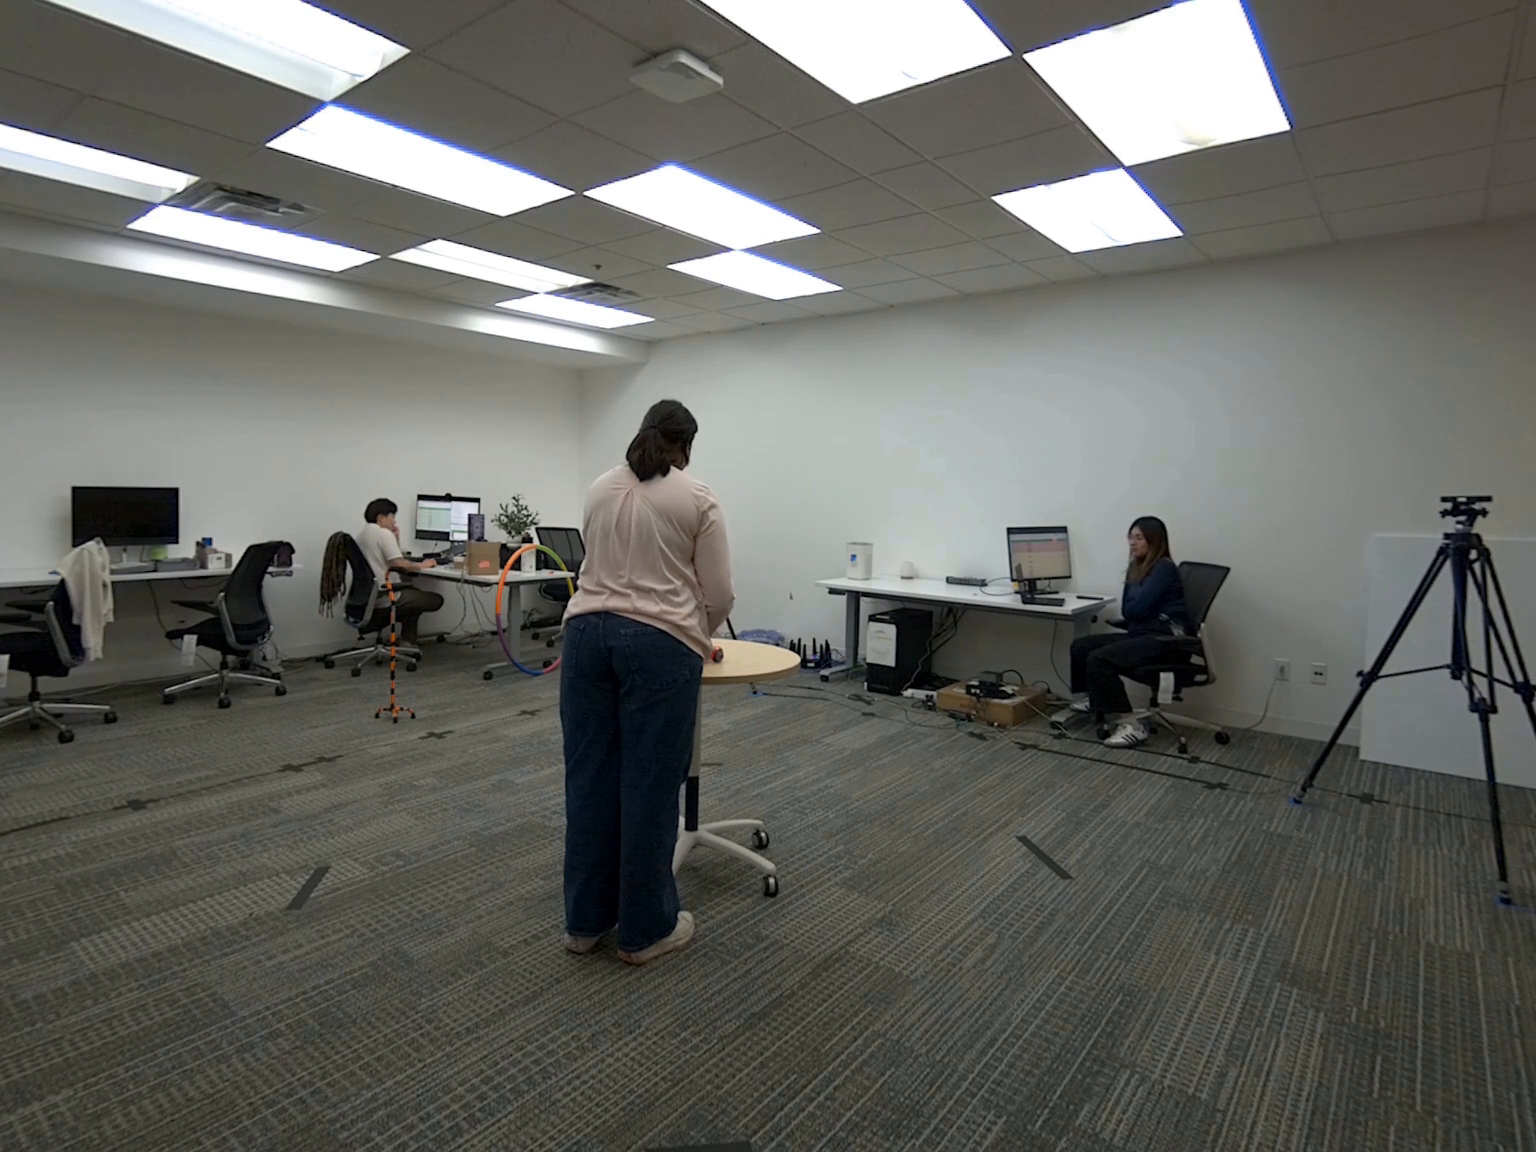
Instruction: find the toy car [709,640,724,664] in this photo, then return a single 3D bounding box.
[{"bbox_3d":[-0.275,0.266,2.921,0.135,0.083,0.245,4,-5,39],"label":"toy car"}]
